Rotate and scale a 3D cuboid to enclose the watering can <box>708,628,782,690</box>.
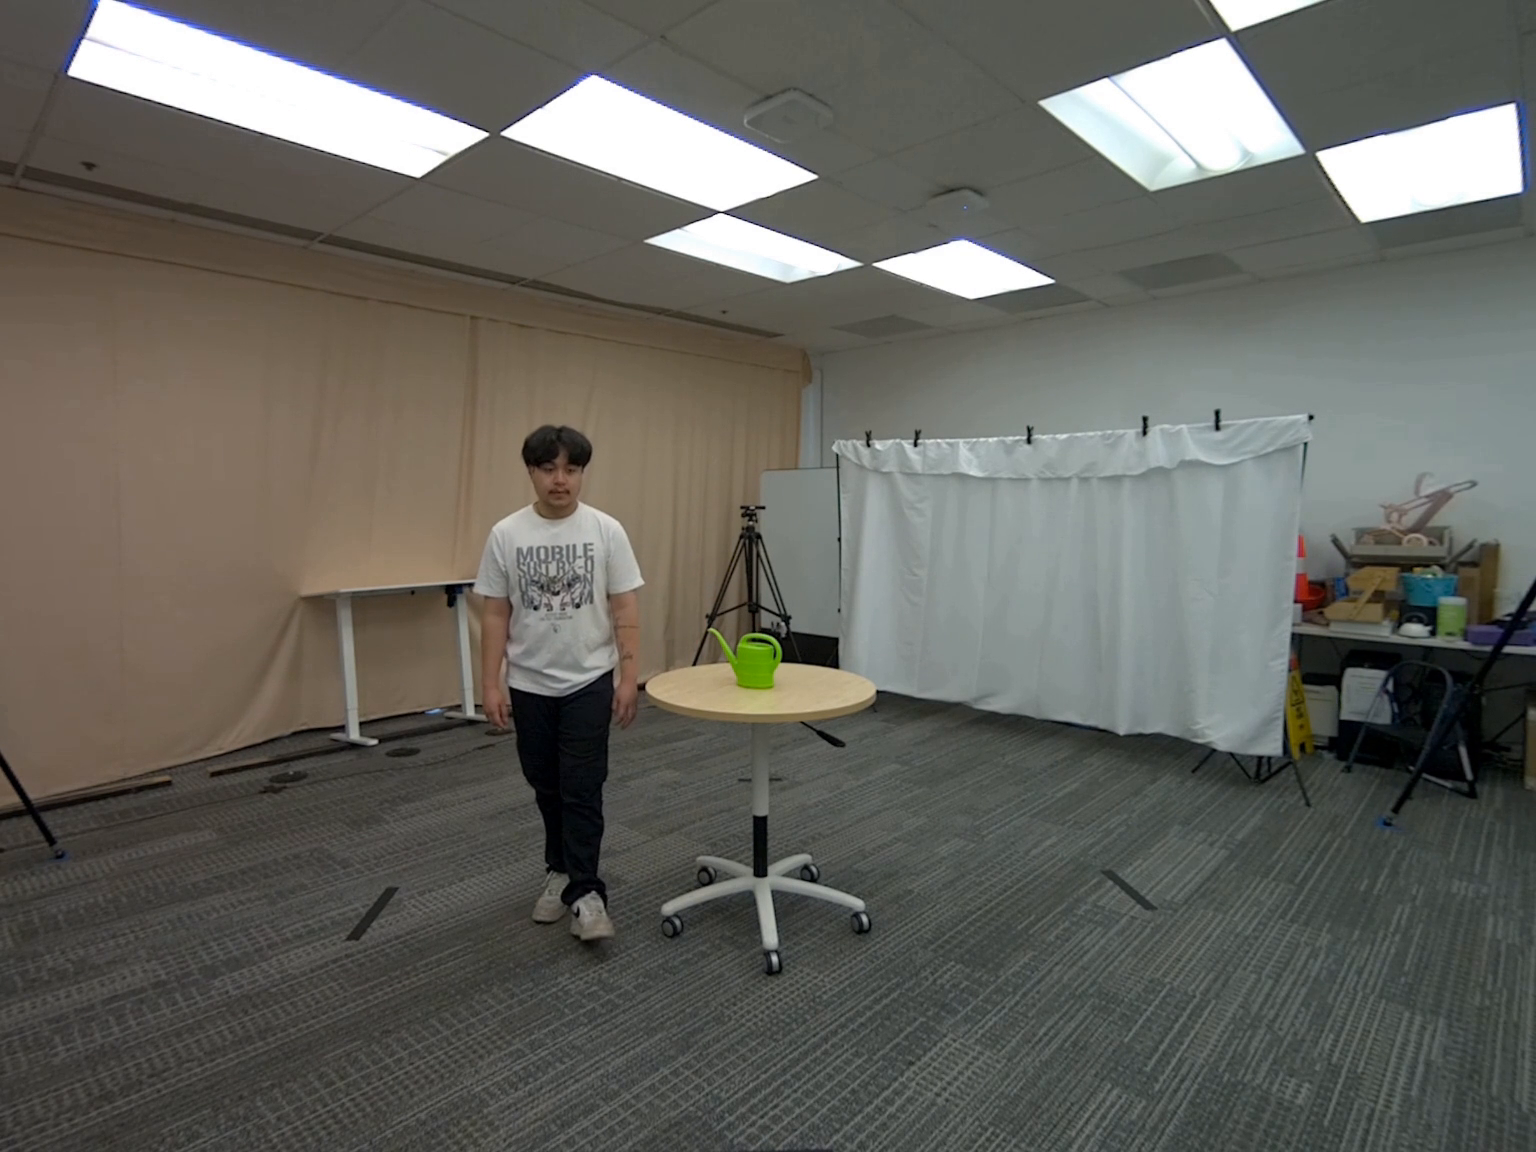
[{"bbox_3d":[-0.072,0.273,2.816,0.287,0.176,0.095,4,4,37],"label":"watering can"}]
